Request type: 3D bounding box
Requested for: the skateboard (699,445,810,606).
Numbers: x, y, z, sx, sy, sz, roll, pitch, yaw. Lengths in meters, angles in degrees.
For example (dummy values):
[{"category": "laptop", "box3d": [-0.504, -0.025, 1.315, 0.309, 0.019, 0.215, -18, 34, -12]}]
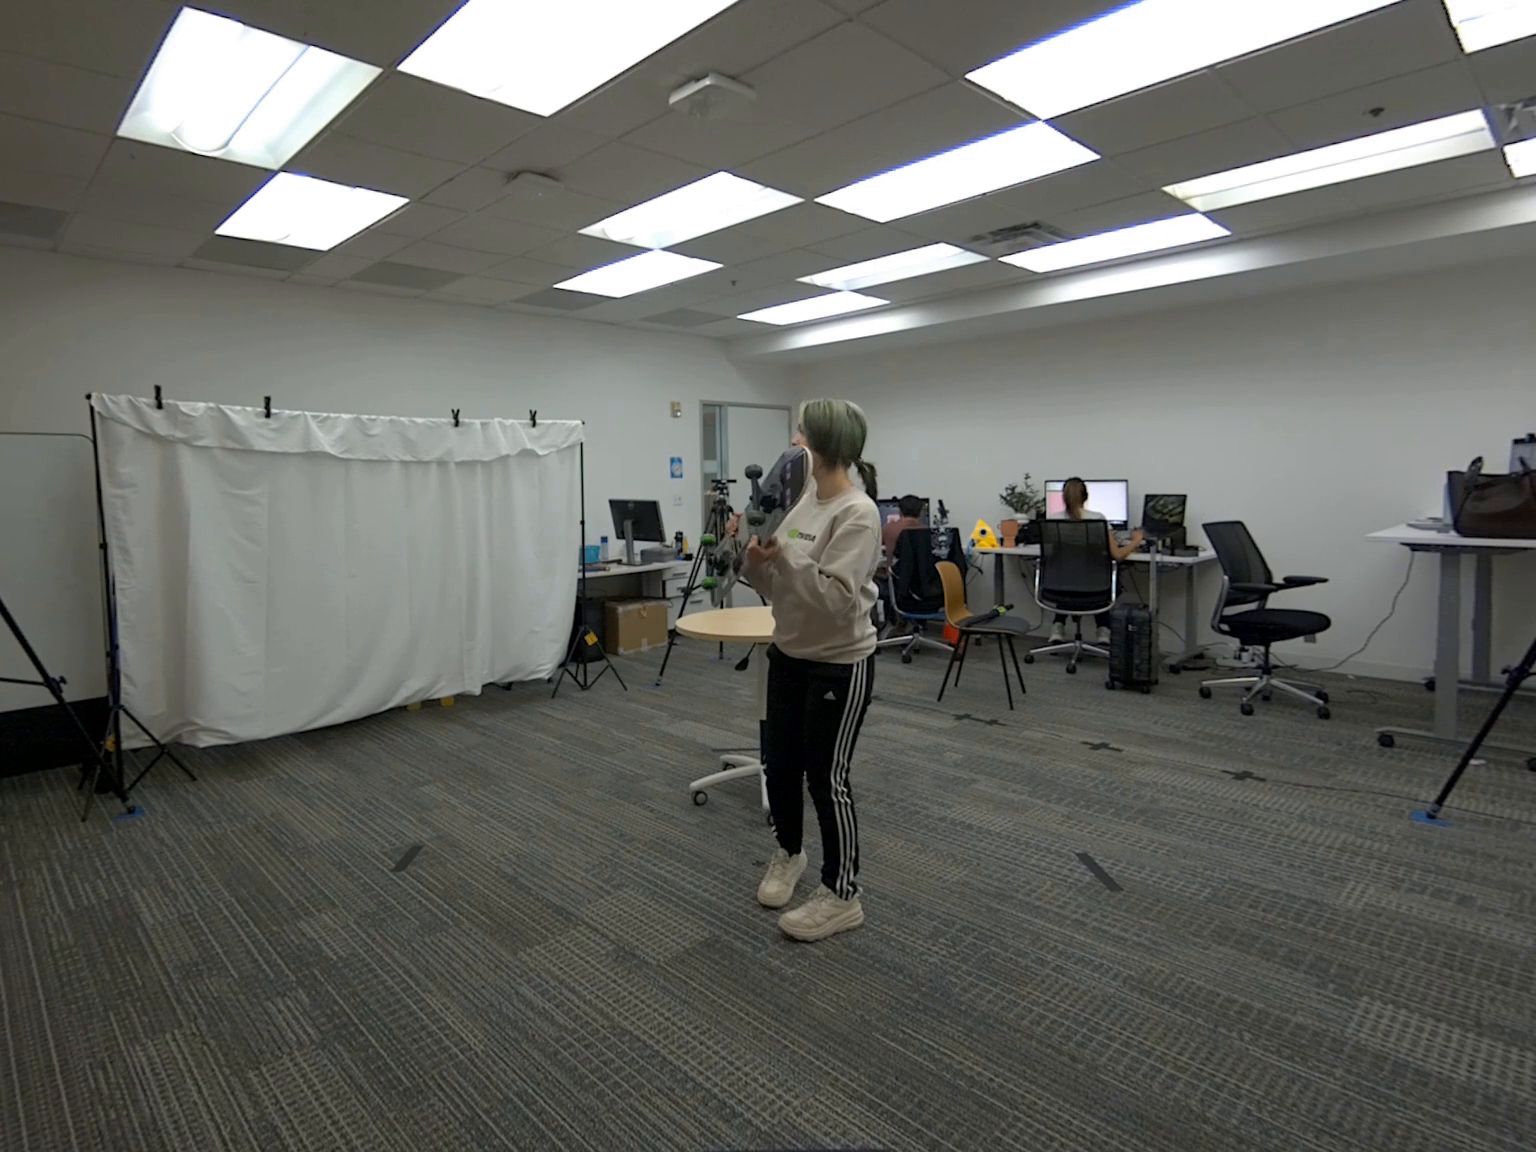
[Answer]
[{"category": "skateboard", "box3d": [-0.085, -0.127, 2.519, 0.108, 0.198, 0.783, 9, -30, -22]}]
